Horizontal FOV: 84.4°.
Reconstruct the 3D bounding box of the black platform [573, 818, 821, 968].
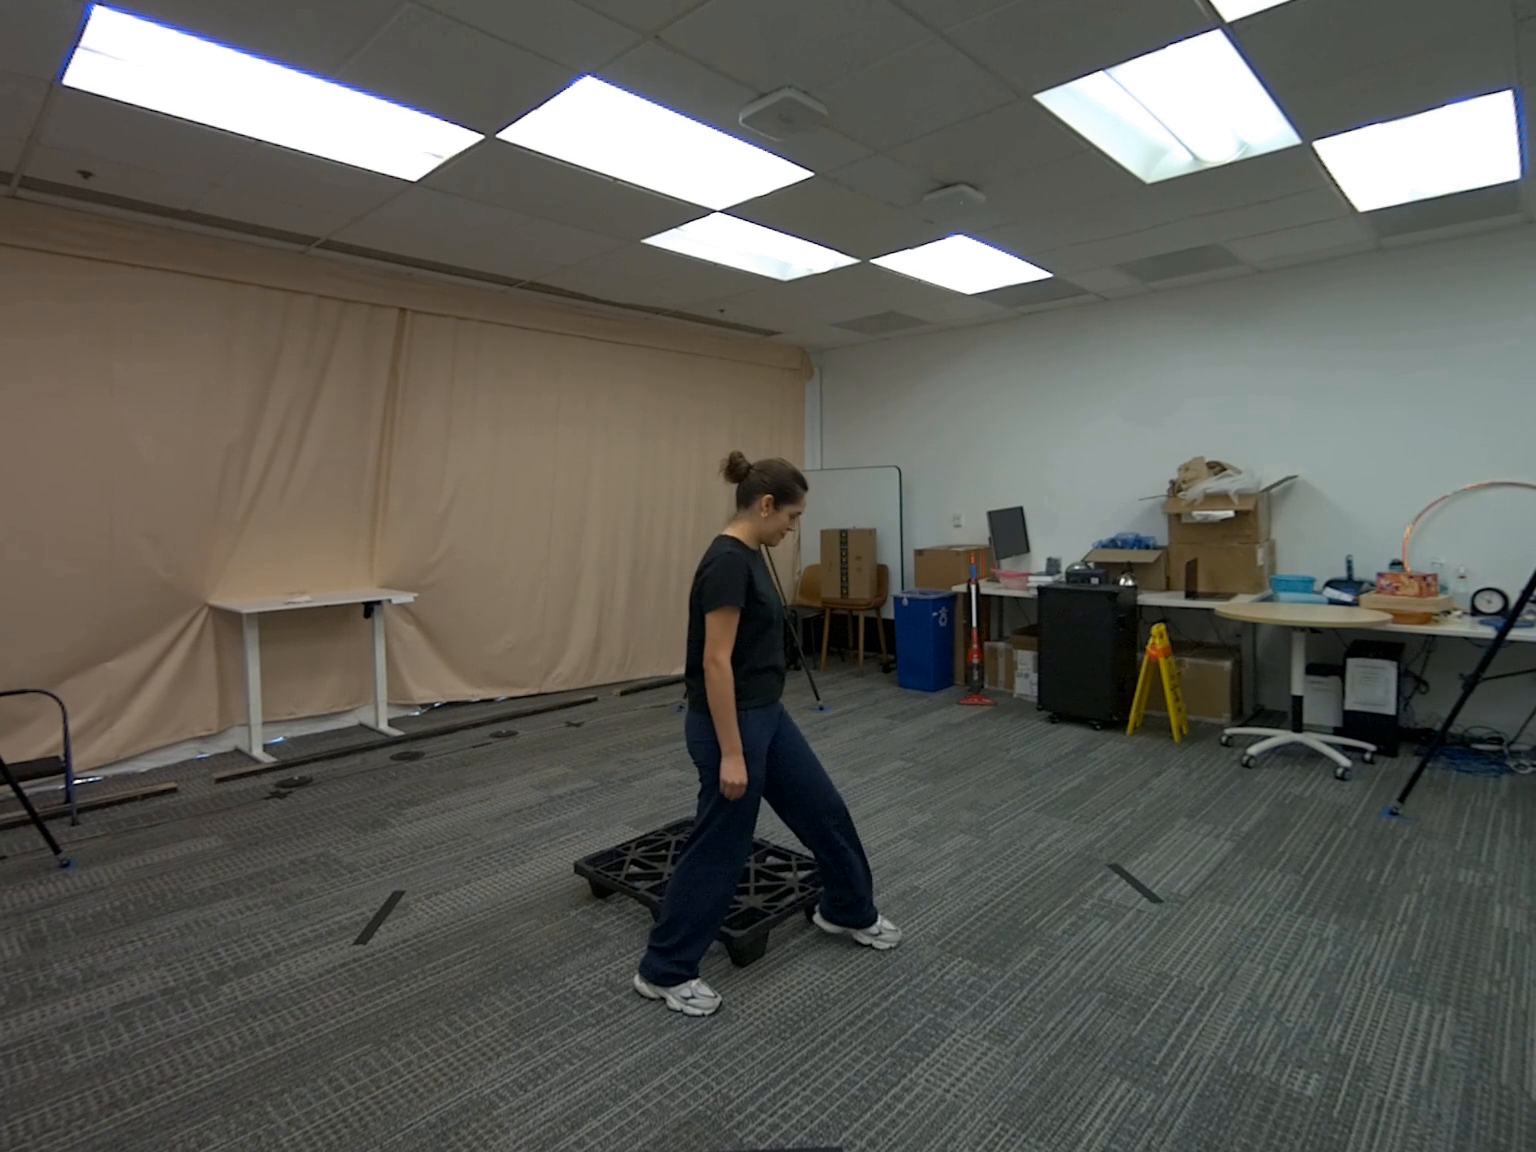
[{"bbox_3d":[-0.190,1.083,2.939,0.832,0.143,0.587,3,7,41],"label":"black platform"}]
